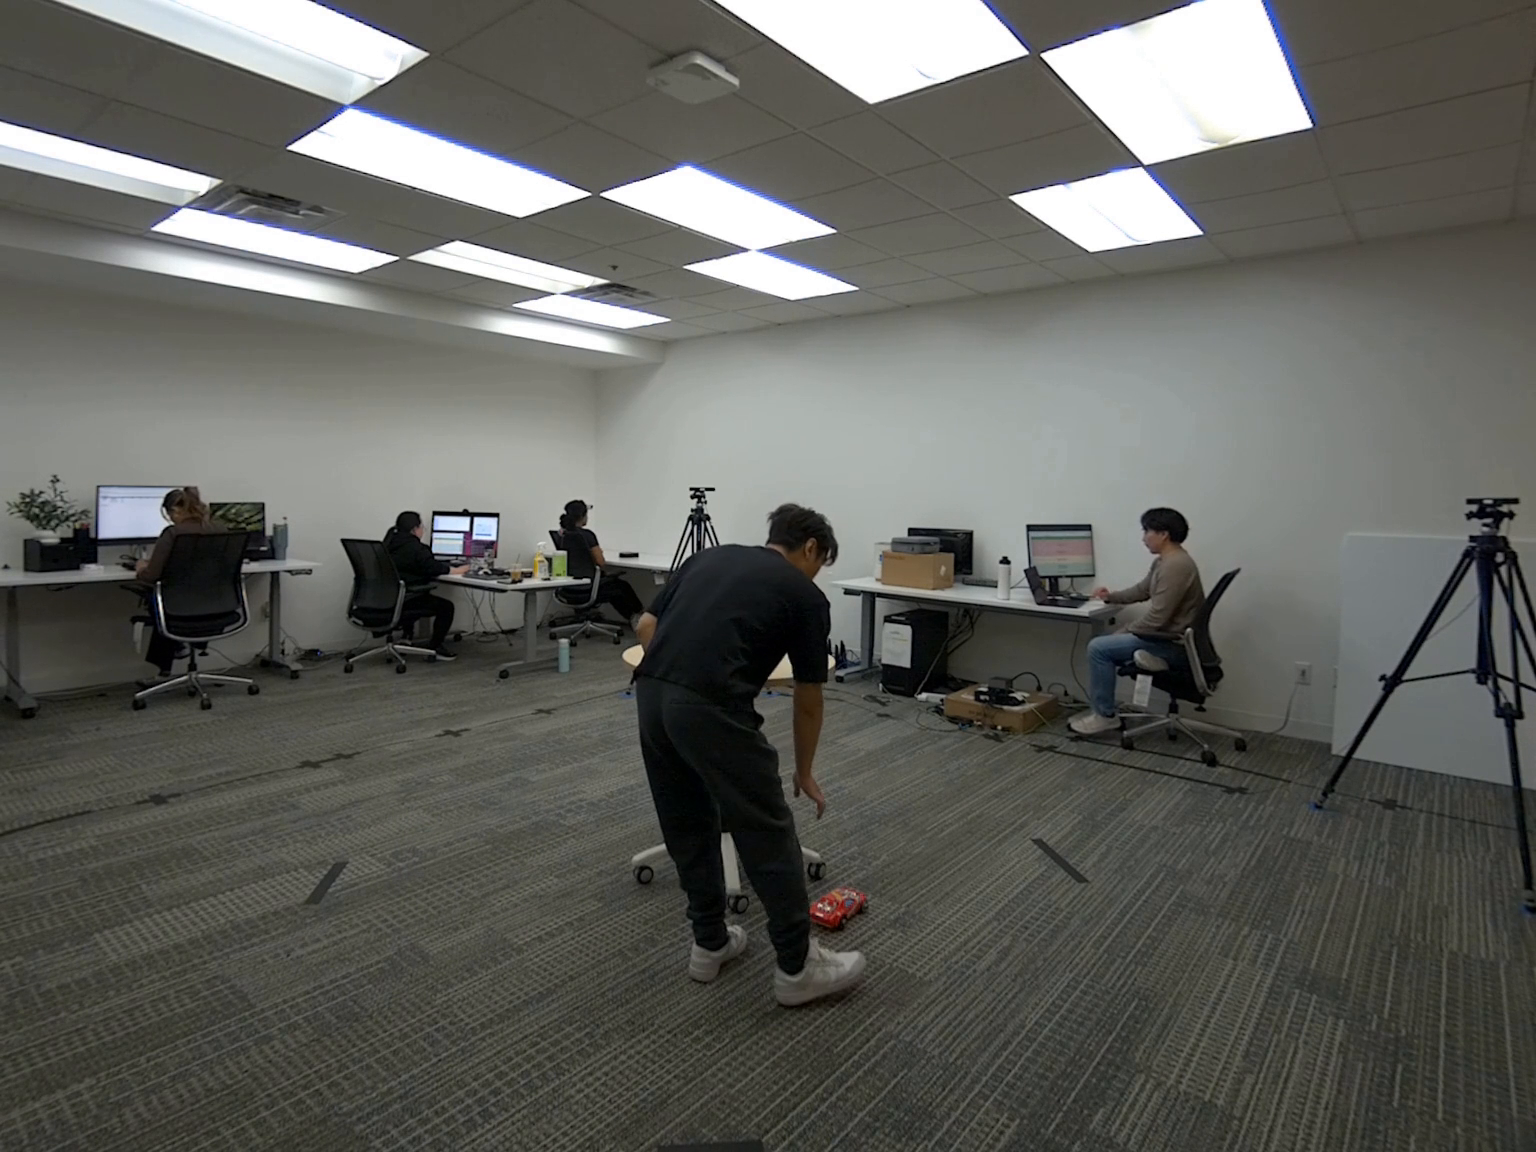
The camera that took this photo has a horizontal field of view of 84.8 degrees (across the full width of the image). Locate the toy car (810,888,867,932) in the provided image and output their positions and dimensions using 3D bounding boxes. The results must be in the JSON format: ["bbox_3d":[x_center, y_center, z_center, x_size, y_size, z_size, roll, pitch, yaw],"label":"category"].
[{"bbox_3d":[0.213,1.079,2.762,0.134,0.083,0.245,6,-5,36],"label":"toy car"}]
